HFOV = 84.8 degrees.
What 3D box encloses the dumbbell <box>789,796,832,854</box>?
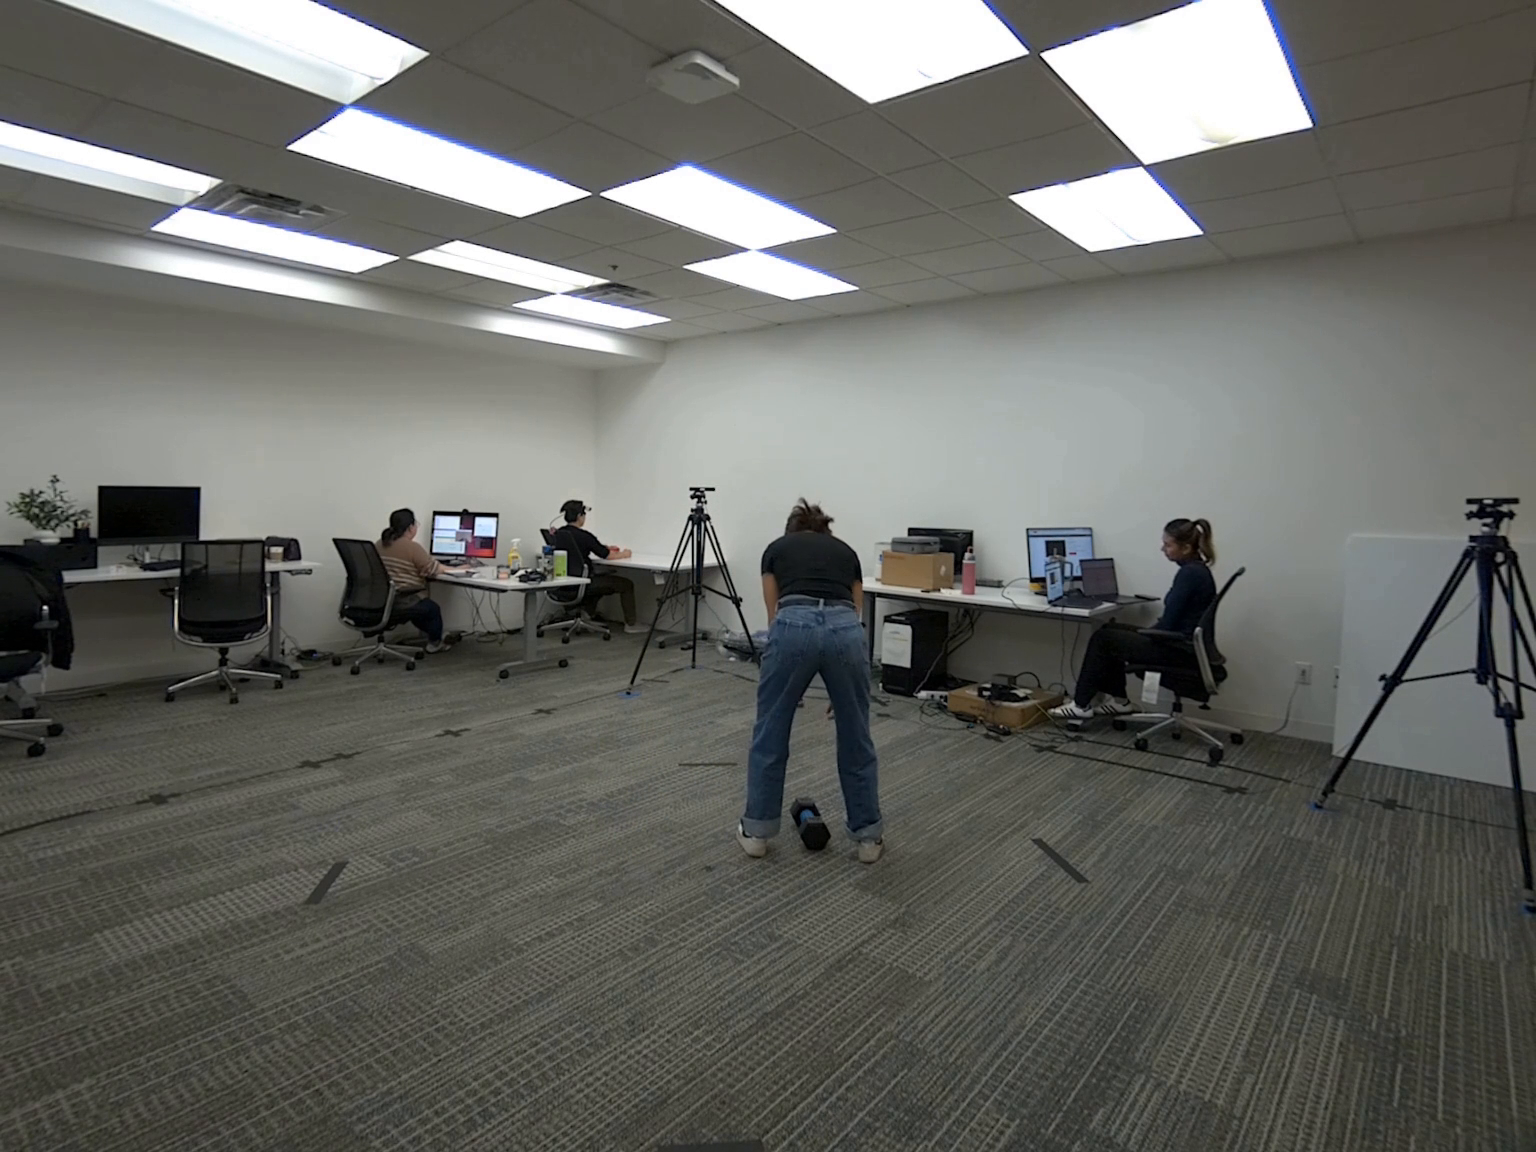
[{"bbox_3d":[0.164,0.989,3.429,0.108,0.122,0.297,-30,9,-5],"label":"dumbbell"}]
